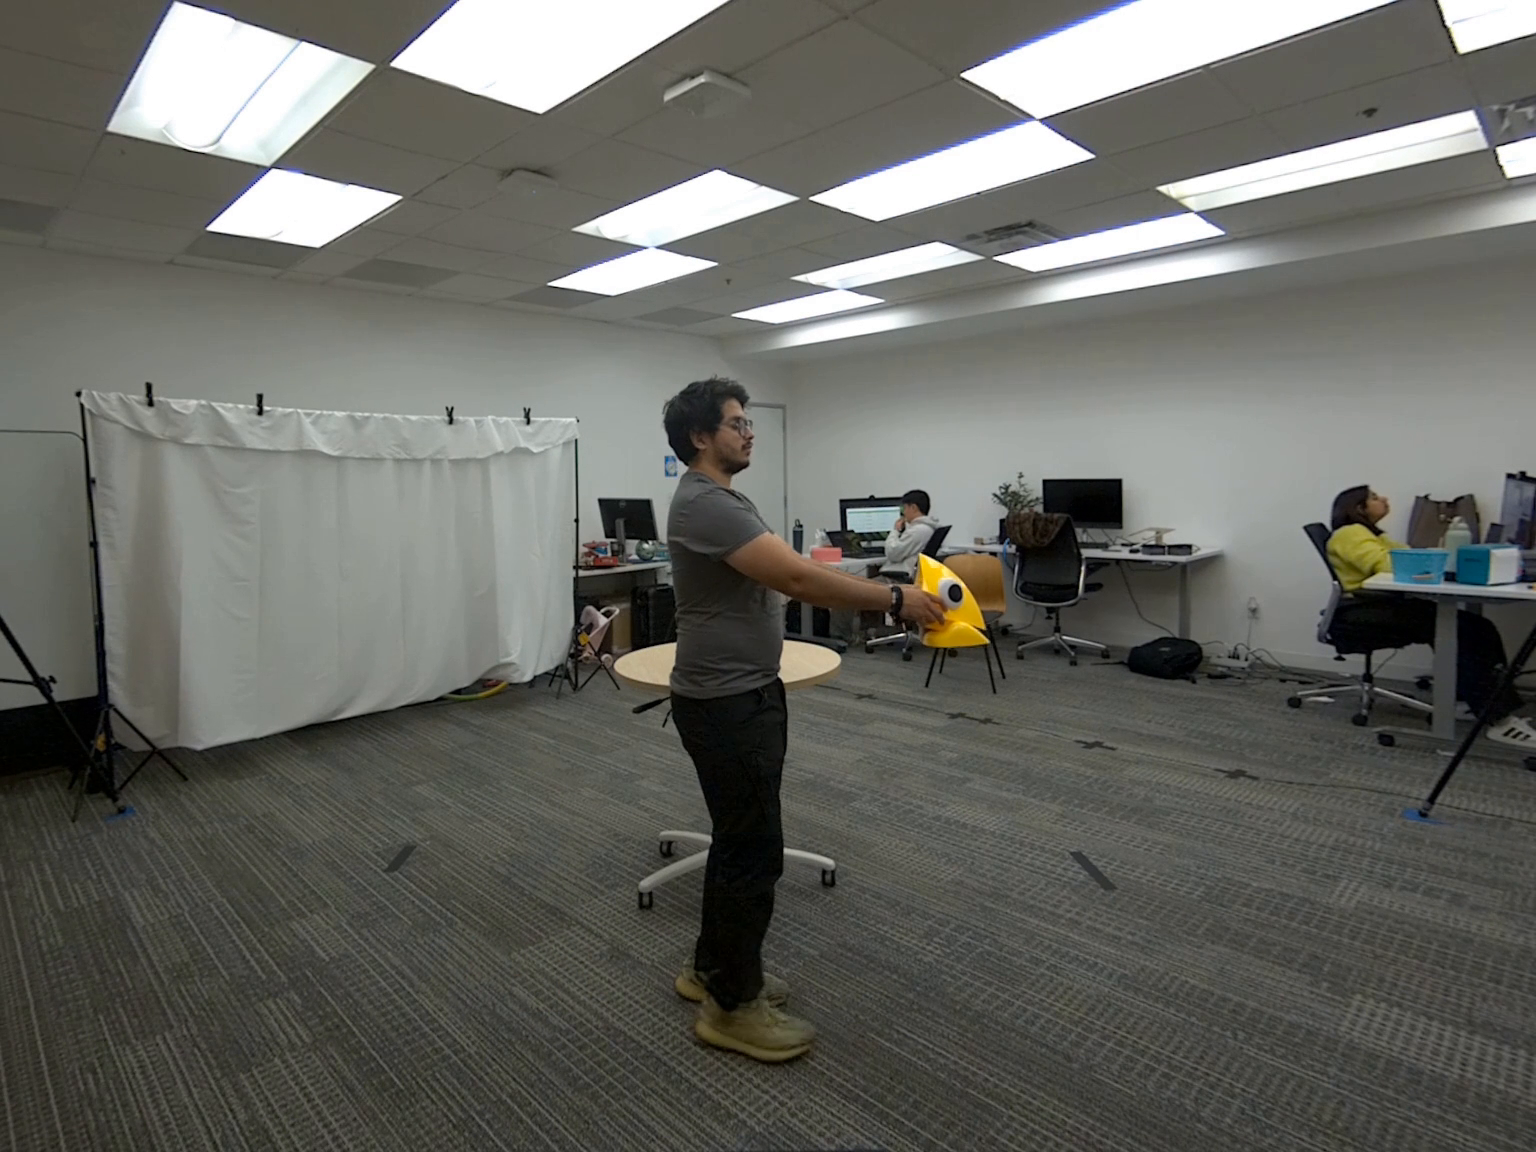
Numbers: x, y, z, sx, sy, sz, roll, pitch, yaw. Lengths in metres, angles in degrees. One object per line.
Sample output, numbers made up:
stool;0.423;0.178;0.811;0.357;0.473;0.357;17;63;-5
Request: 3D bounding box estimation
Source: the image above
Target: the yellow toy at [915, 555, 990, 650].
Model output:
yellow toy;0.463;0.055;2.213;0.193;0.230;0.205;-4;2;2
